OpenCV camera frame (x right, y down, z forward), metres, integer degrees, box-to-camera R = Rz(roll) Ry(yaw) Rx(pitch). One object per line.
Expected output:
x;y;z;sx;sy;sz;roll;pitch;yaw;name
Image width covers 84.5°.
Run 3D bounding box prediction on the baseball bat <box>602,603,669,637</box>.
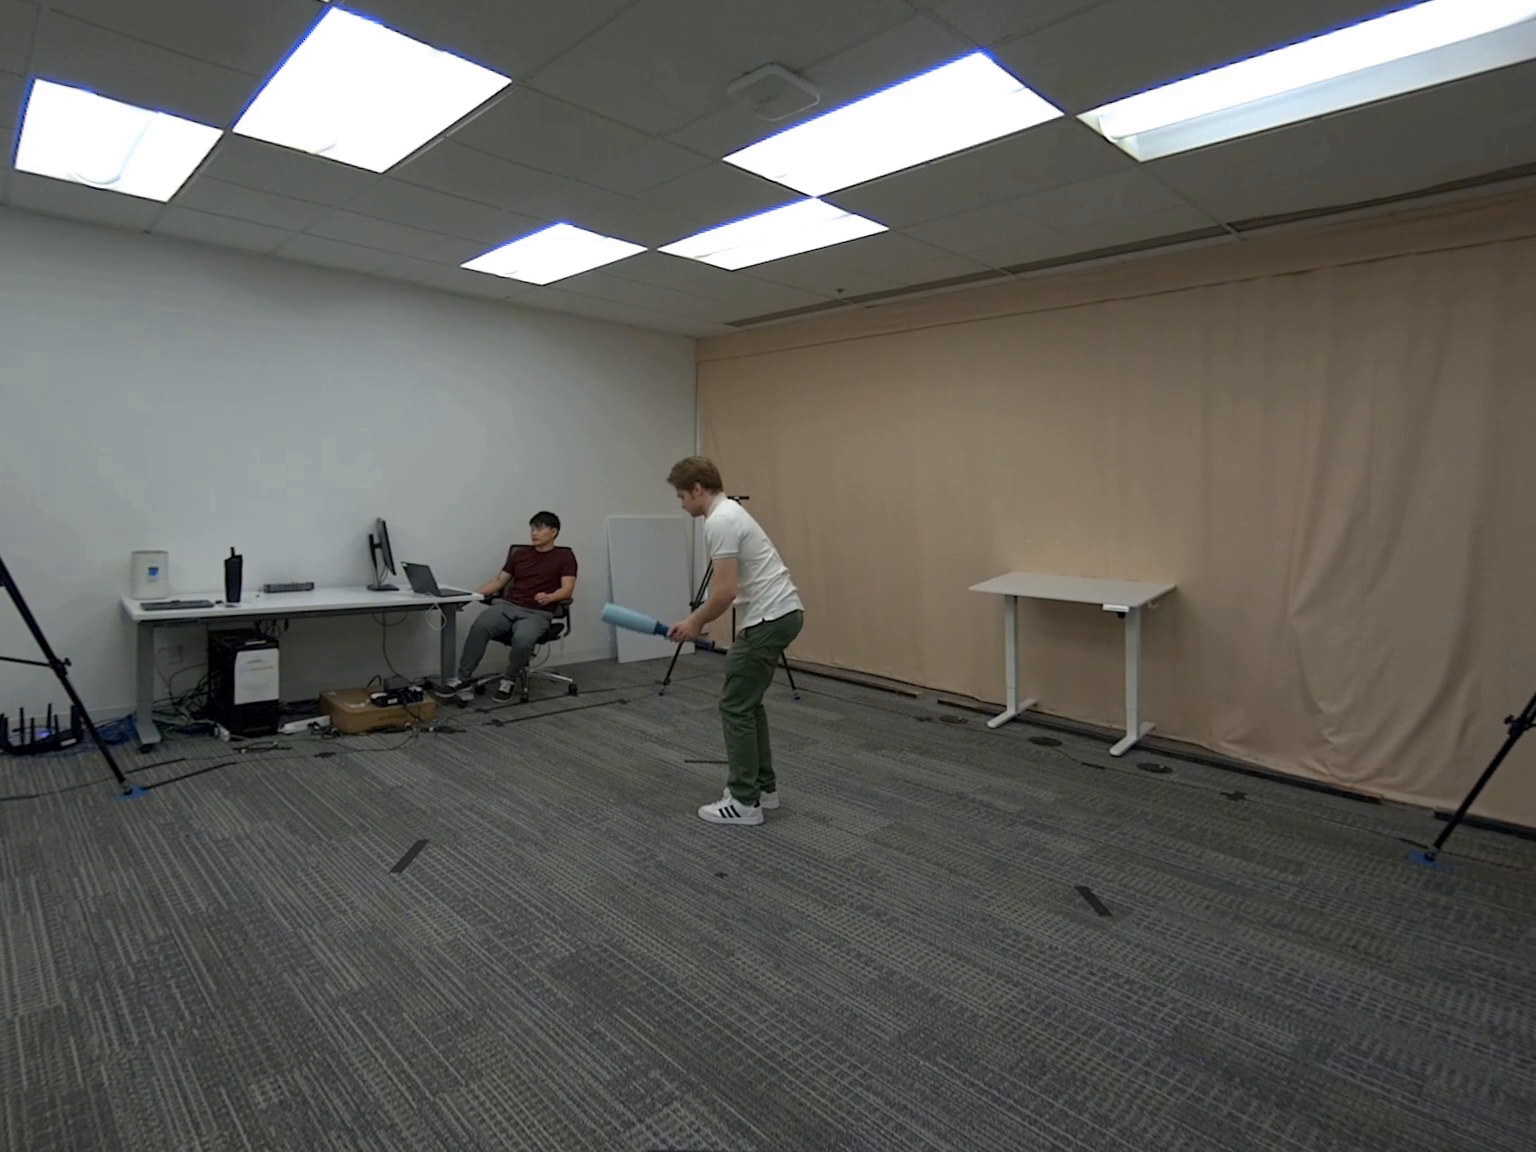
-0.490;0.253;3.885;0.541;0.089;0.089;19;3;-3;baseball bat
